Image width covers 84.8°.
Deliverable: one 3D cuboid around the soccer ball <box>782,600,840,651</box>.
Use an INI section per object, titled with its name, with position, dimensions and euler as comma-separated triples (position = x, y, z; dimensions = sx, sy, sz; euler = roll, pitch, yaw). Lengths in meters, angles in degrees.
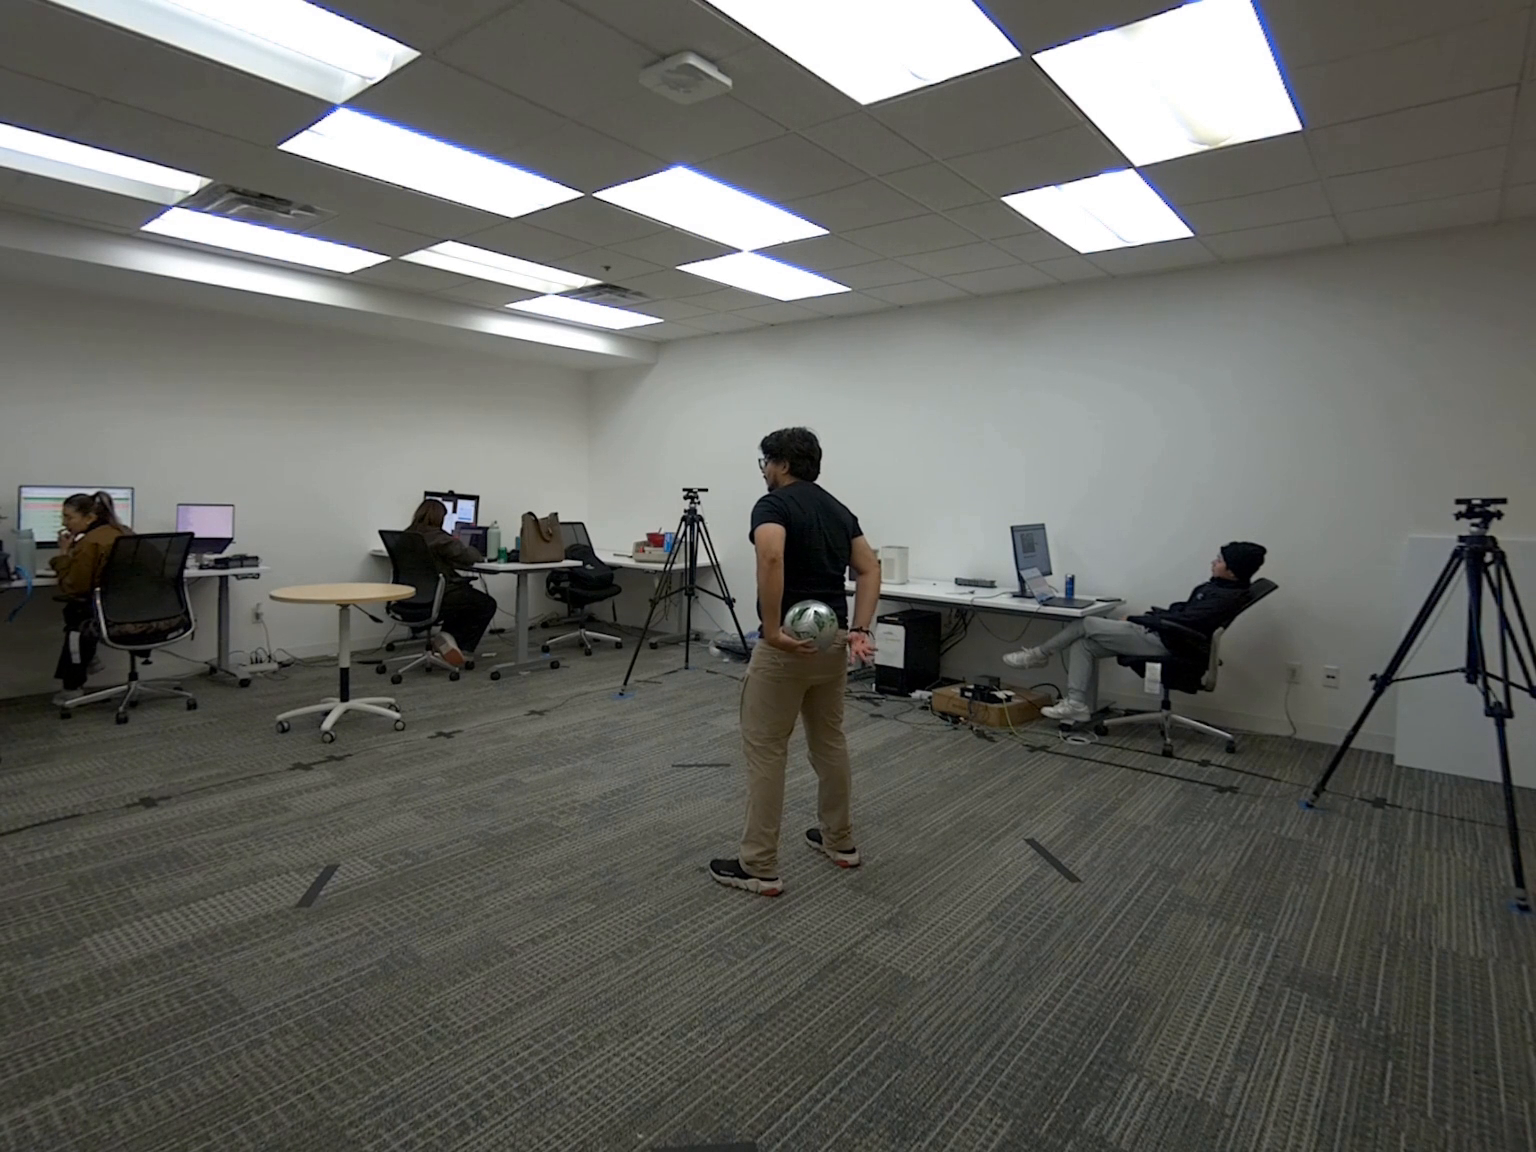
[soccer ball]
position = 0.131, 0.173, 2.887
dimensions = 0.187, 0.187, 0.188
euler = 1, 4, -2
